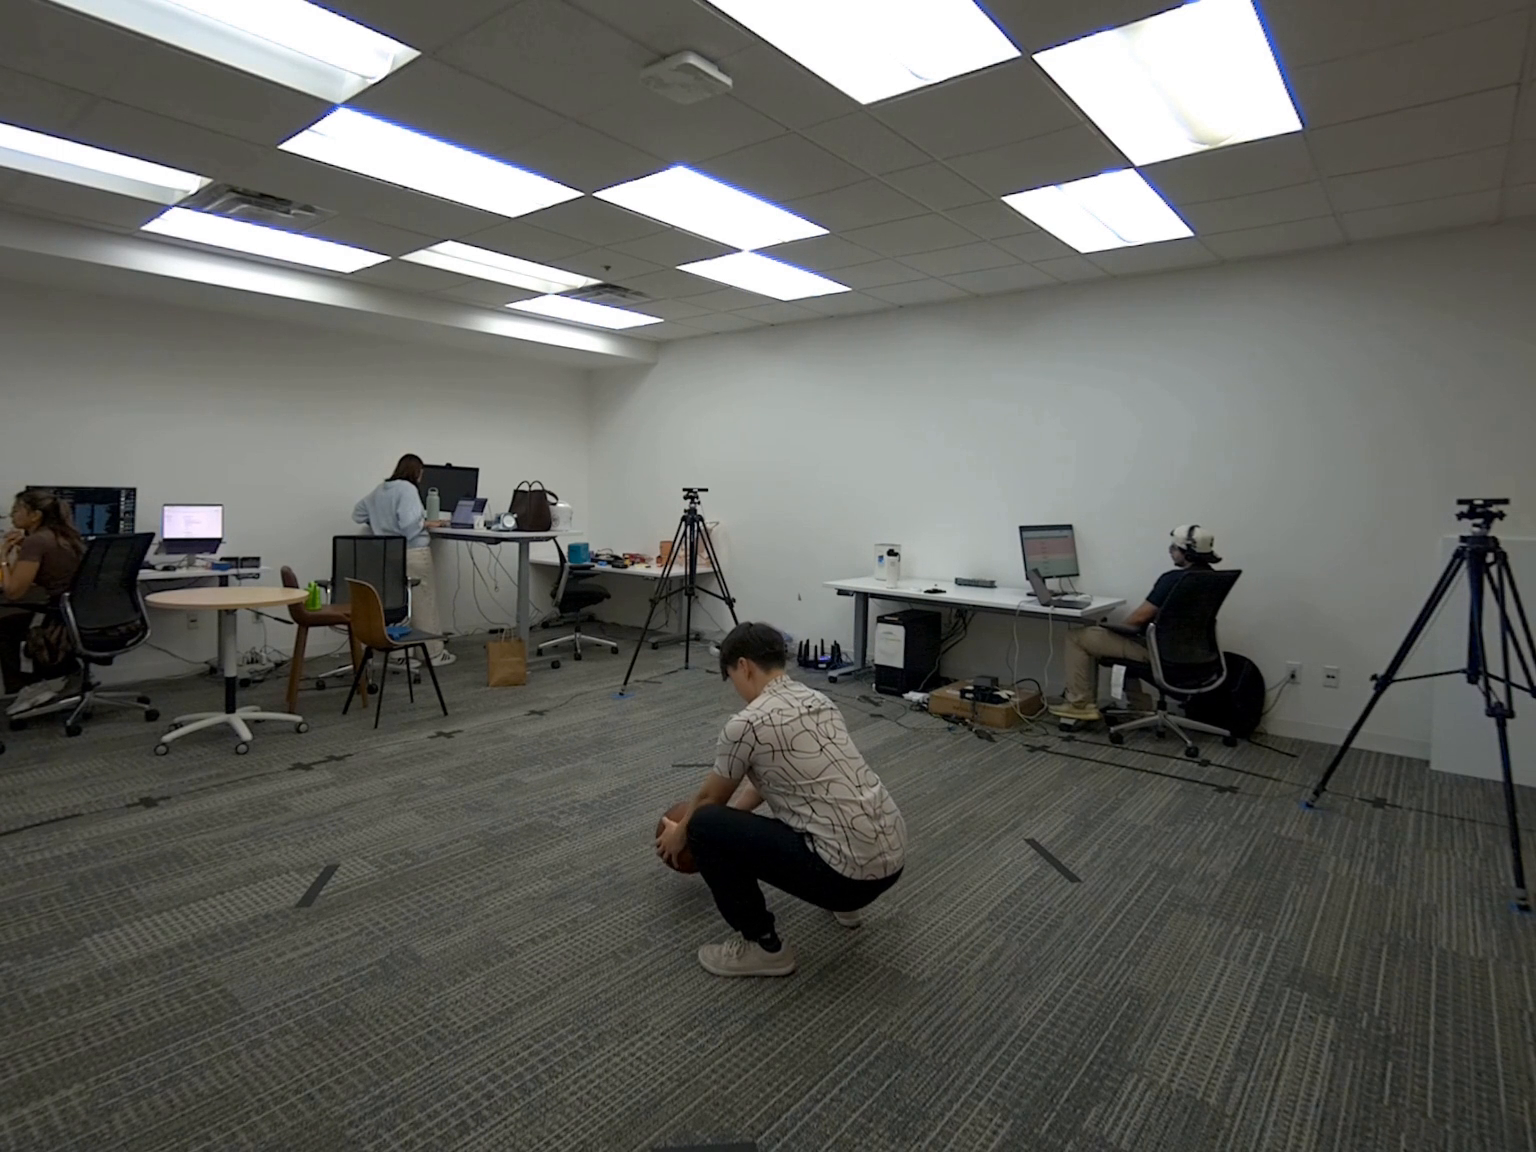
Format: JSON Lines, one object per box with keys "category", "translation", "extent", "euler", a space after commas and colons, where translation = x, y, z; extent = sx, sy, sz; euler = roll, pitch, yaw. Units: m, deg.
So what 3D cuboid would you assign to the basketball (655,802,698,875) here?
{"category": "basketball", "translation": [-0.274, 0.895, 2.960], "extent": [0.235, 0.235, 0.237], "euler": [1, 4, -2]}
